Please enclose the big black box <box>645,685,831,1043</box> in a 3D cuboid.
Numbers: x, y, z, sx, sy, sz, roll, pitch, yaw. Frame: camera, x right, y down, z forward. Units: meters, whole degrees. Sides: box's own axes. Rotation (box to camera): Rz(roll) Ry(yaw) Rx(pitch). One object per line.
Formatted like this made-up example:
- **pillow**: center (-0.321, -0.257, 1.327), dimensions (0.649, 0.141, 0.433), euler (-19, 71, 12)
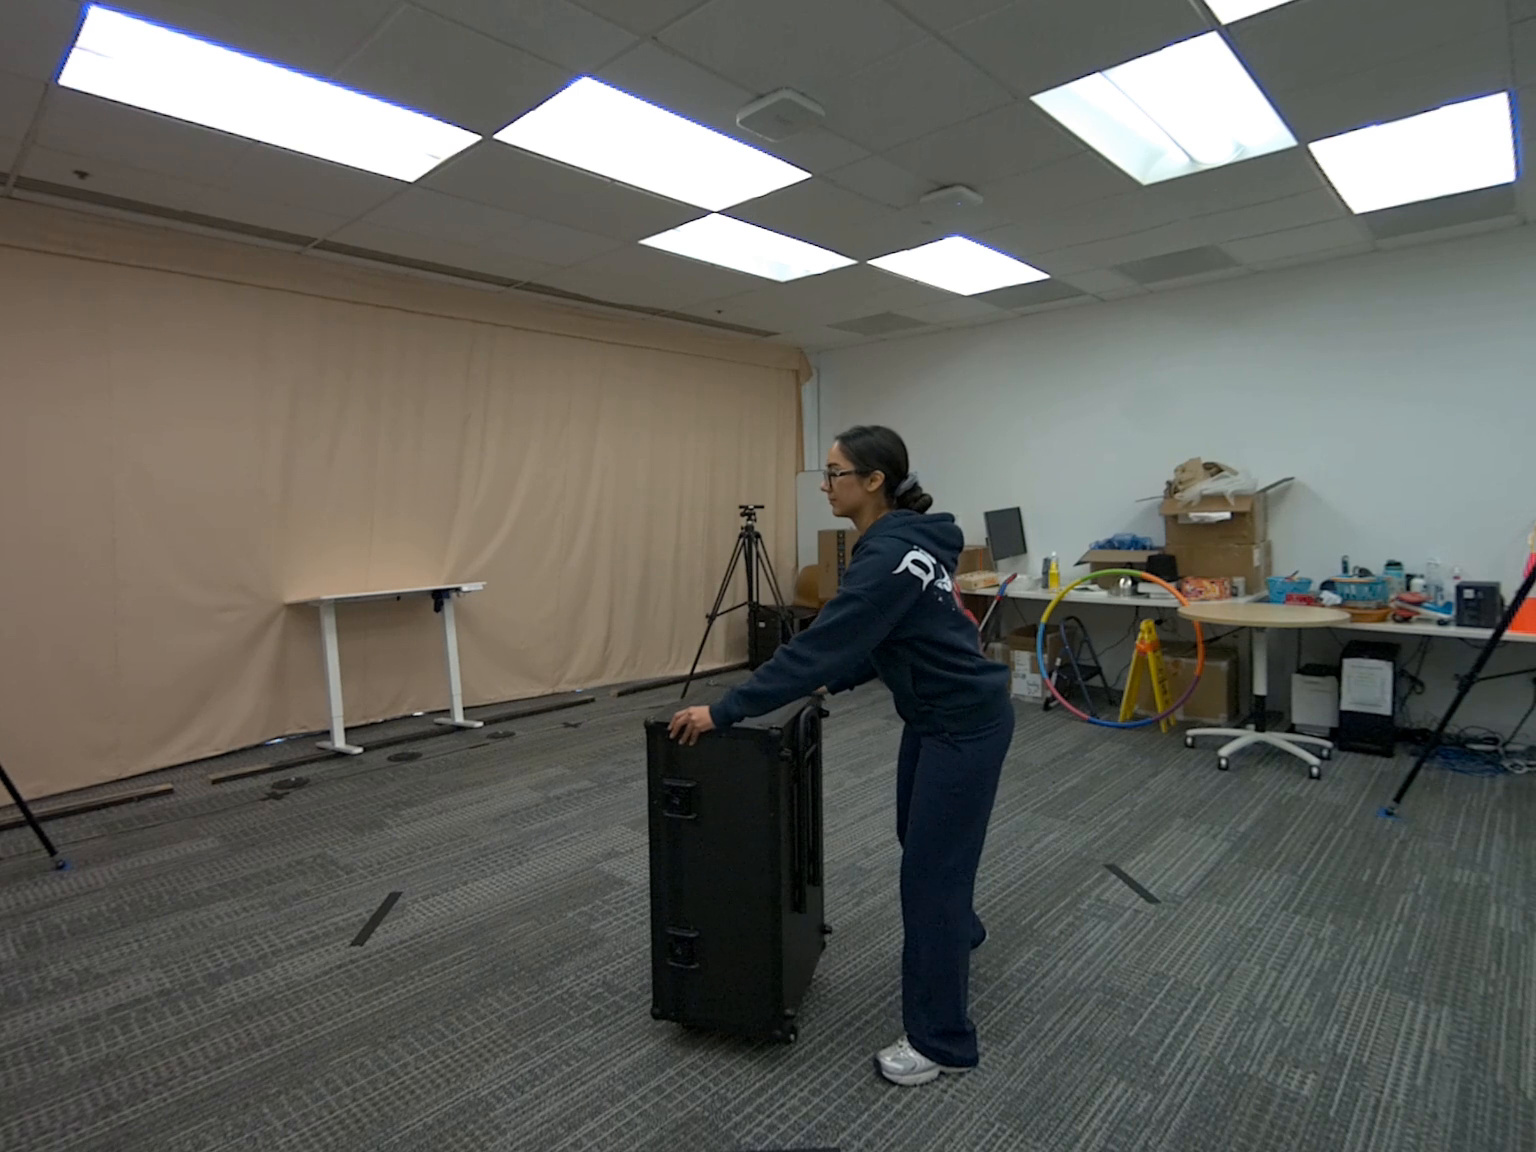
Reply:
- **big black box**: center (-0.055, 0.771, 2.329), dimensions (0.404, 0.860, 0.512), euler (0, 3, 18)
